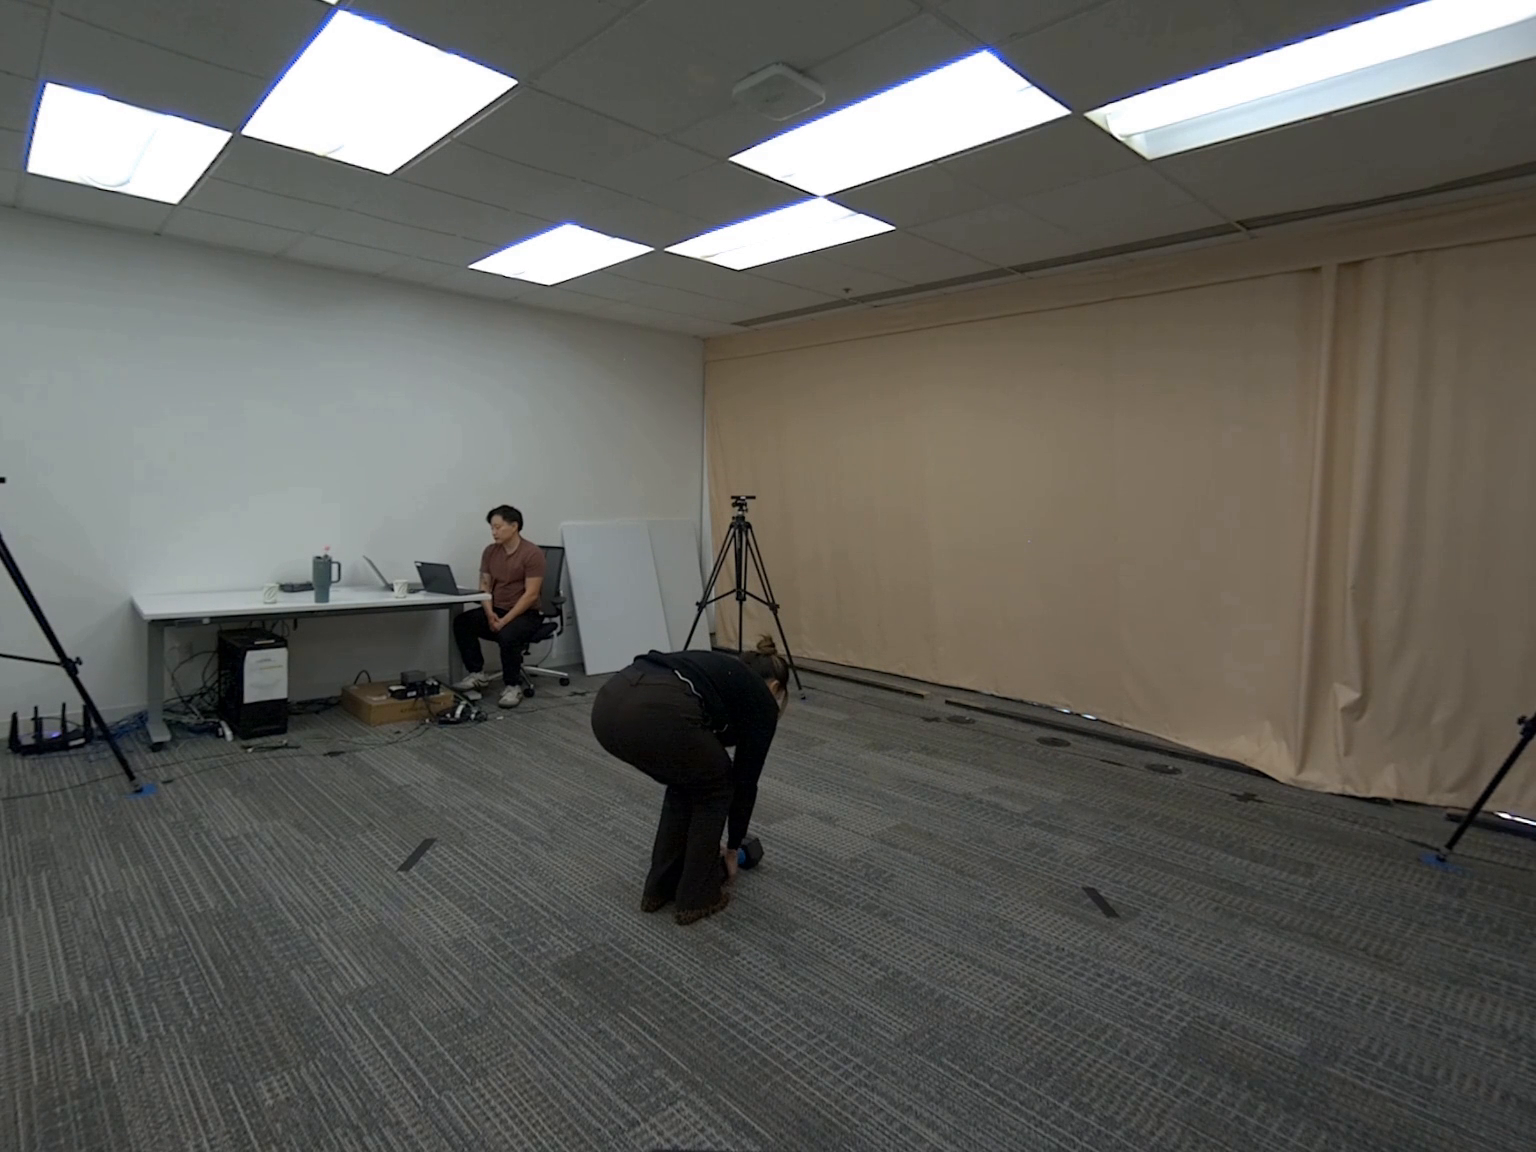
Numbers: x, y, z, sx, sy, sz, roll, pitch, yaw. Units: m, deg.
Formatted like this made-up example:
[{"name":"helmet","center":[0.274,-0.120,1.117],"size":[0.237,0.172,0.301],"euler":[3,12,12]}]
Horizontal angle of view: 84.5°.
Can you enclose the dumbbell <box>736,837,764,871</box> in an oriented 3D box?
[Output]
[{"name":"dumbbell","center":[-0.144,1.048,3.096],"size":[0.109,0.124,0.288],"euler":[-30,-12,33]}]
